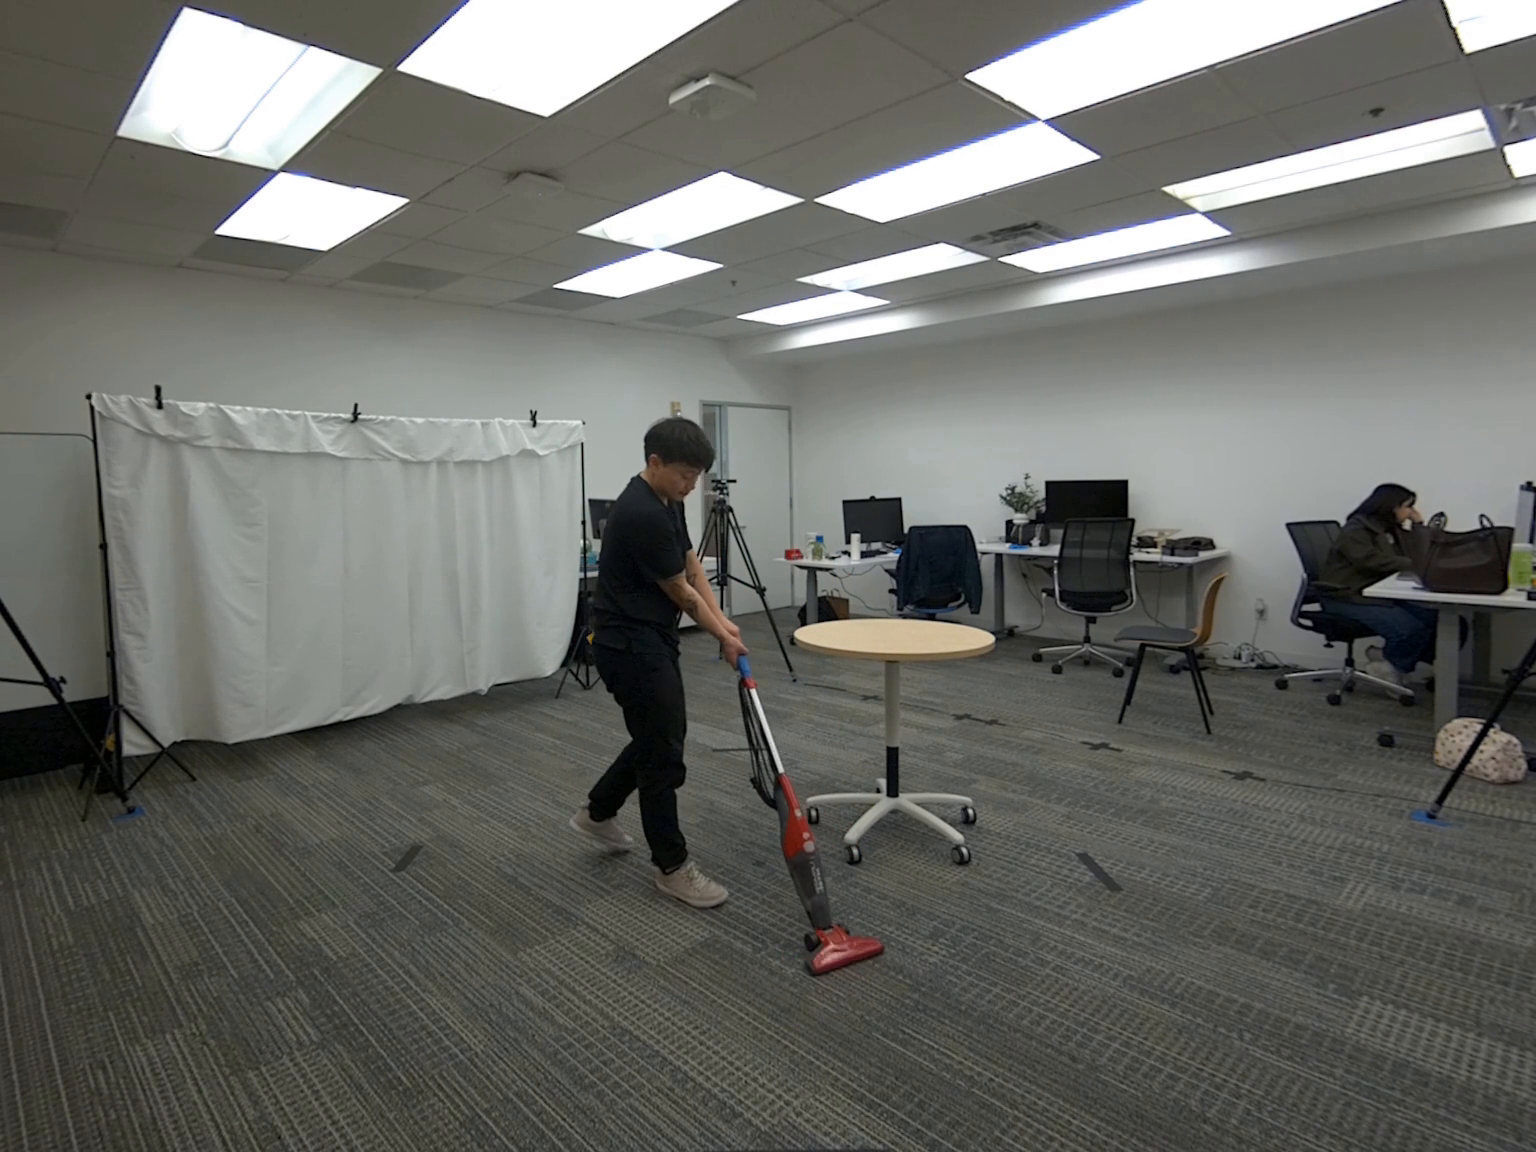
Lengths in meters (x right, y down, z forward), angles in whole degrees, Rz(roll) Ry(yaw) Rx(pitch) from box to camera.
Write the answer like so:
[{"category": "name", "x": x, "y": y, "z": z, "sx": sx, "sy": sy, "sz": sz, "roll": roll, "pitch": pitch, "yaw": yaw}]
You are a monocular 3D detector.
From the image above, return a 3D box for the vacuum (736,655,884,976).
[{"category": "vacuum", "x": 0.042, "y": 0.661, "z": 2.752, "sx": 0.246, "sy": 1.080, "sz": 0.143, "roll": -1, "pitch": -33, "yaw": -33}]
